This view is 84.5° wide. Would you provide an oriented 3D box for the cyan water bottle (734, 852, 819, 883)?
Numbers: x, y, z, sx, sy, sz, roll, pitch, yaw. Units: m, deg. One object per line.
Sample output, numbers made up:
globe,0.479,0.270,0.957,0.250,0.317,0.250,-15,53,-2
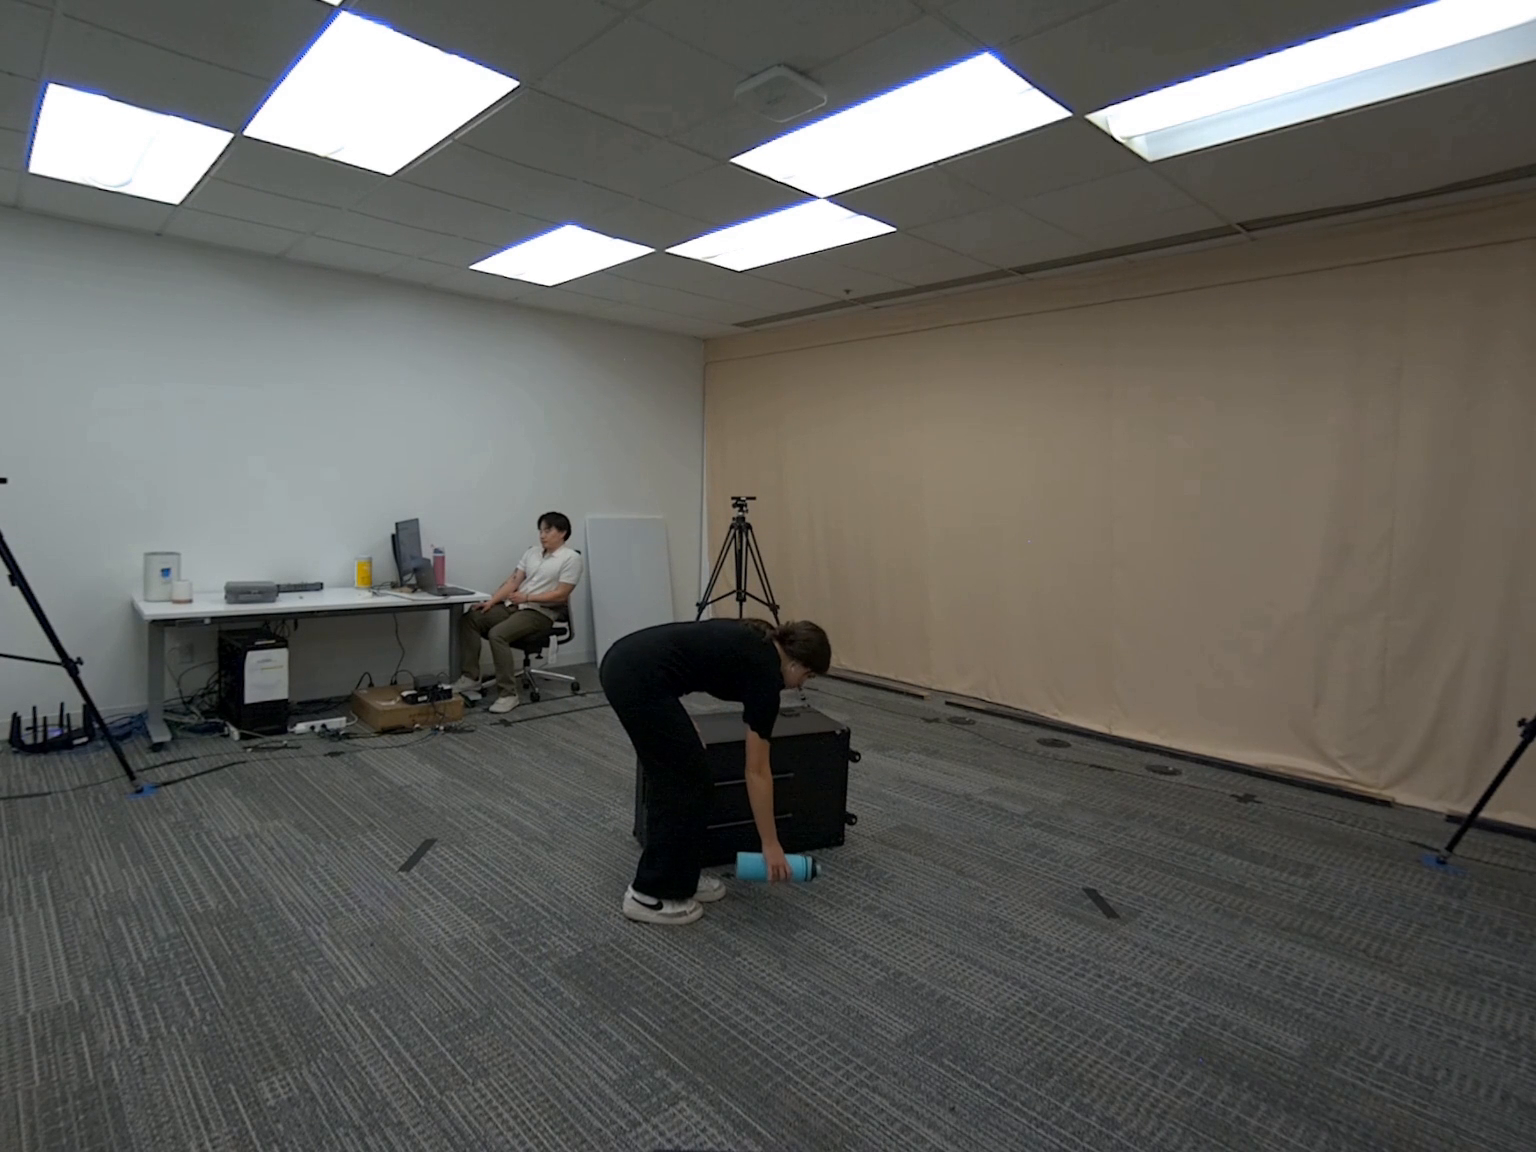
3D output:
cyan water bottle,0.017,0.988,2.832,0.283,0.092,0.093,3,4,-2
